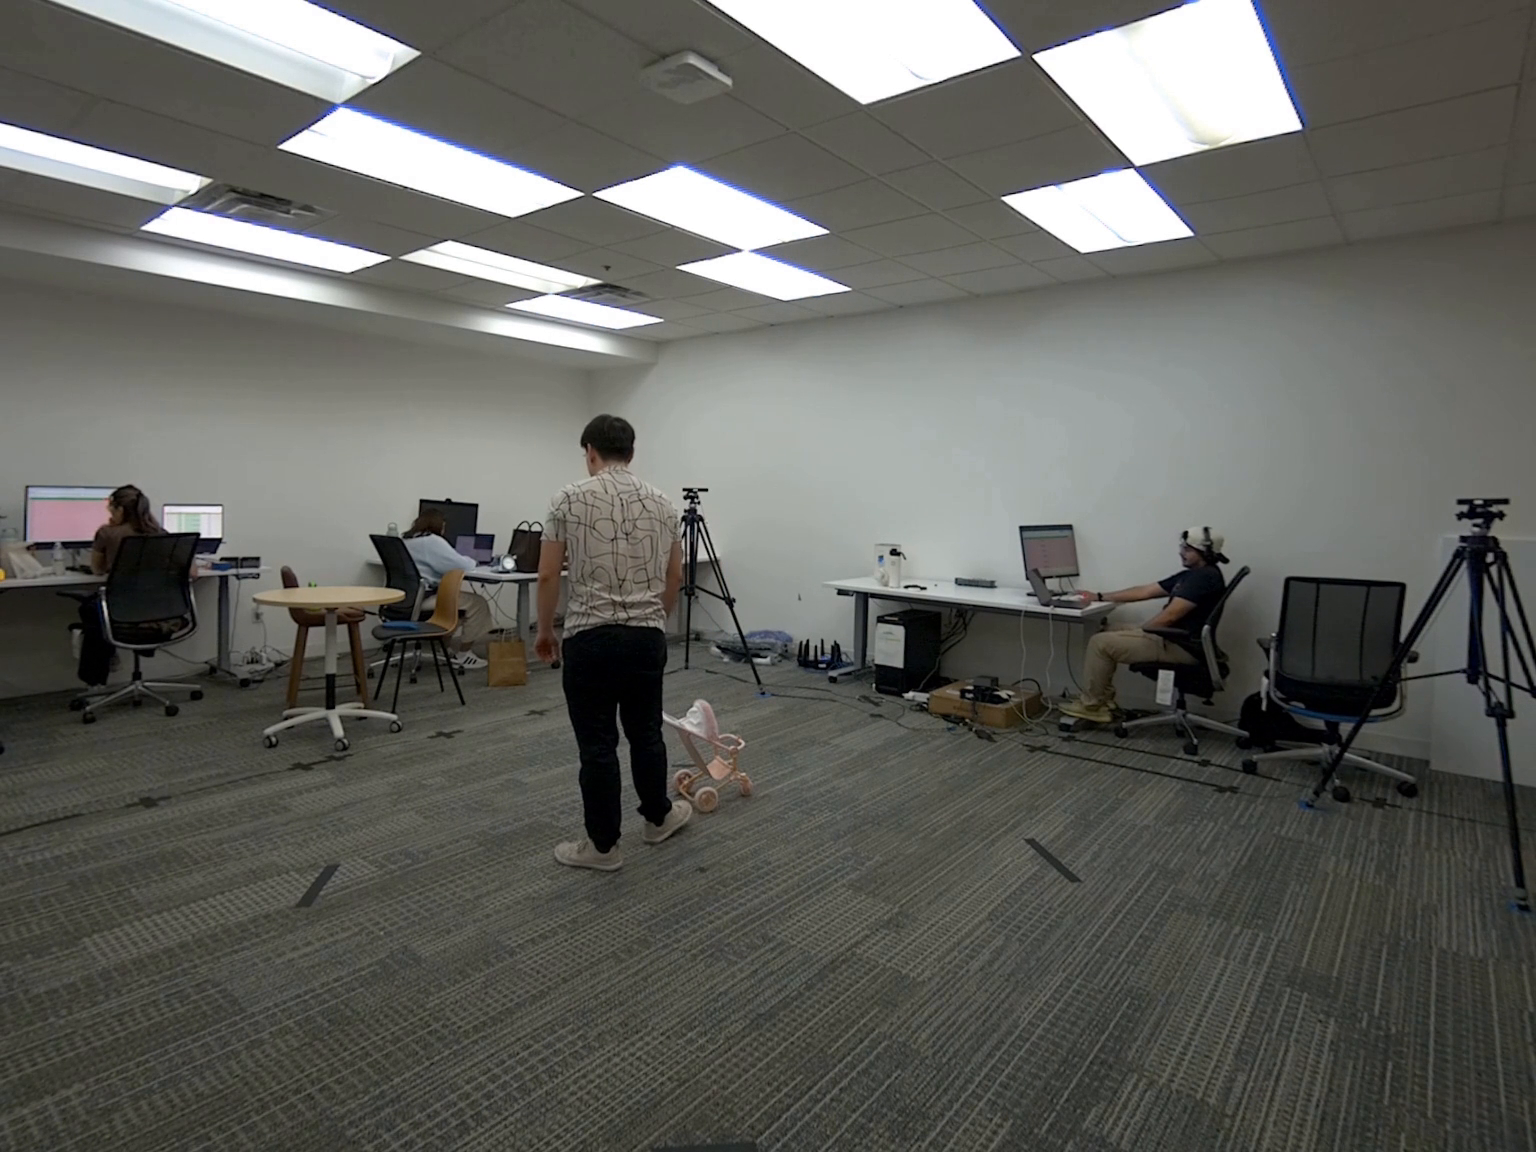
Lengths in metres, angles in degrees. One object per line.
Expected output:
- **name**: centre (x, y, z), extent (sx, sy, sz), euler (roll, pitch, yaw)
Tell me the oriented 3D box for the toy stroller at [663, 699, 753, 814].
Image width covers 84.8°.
- **toy stroller**: centre (-0.280, 0.780, 3.788), extent (0.337, 0.529, 0.288), euler (-20, 11, -20)
